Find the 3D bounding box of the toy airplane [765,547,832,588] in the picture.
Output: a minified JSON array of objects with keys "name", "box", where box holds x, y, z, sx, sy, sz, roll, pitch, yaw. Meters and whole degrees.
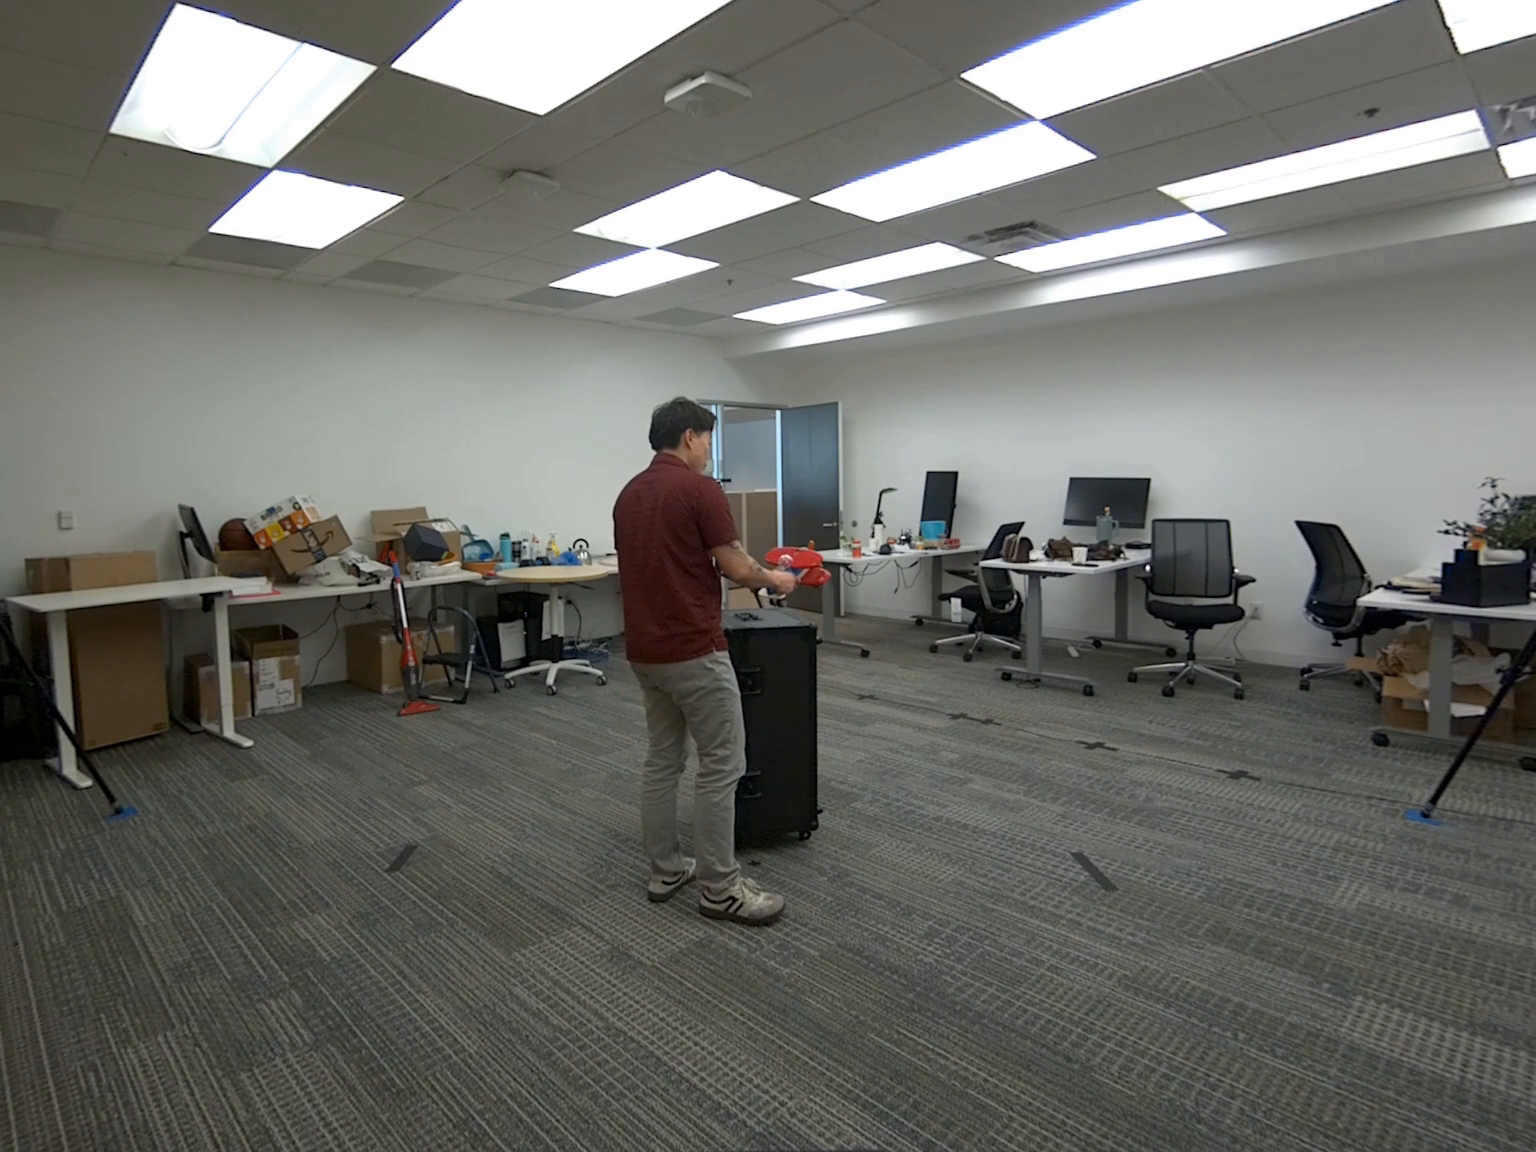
[{"name":"toy airplane","box":[0.100,0.003,3.057,0.255,0.153,0.260,-5,21,20]}]
